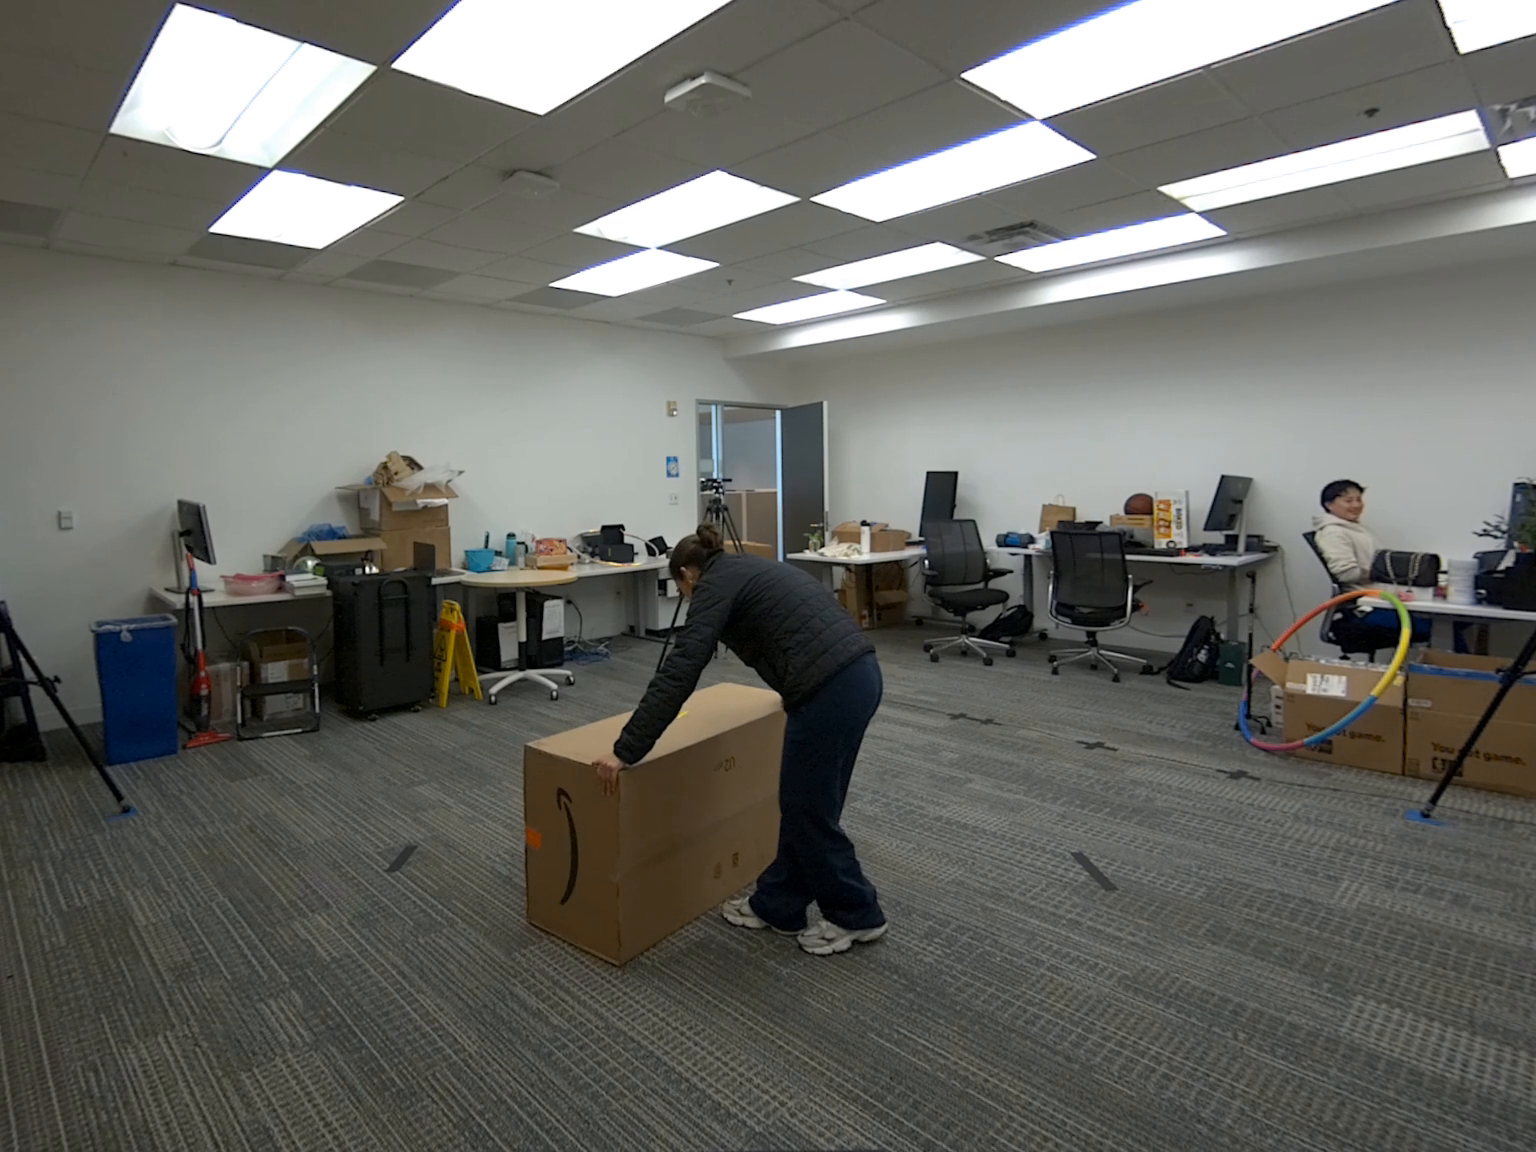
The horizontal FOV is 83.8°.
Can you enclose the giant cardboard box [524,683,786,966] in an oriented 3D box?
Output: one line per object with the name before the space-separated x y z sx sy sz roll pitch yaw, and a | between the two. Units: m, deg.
giant cardboard box | -0.305 0.777 2.978 0.460 0.582 1.002 2 6 36
